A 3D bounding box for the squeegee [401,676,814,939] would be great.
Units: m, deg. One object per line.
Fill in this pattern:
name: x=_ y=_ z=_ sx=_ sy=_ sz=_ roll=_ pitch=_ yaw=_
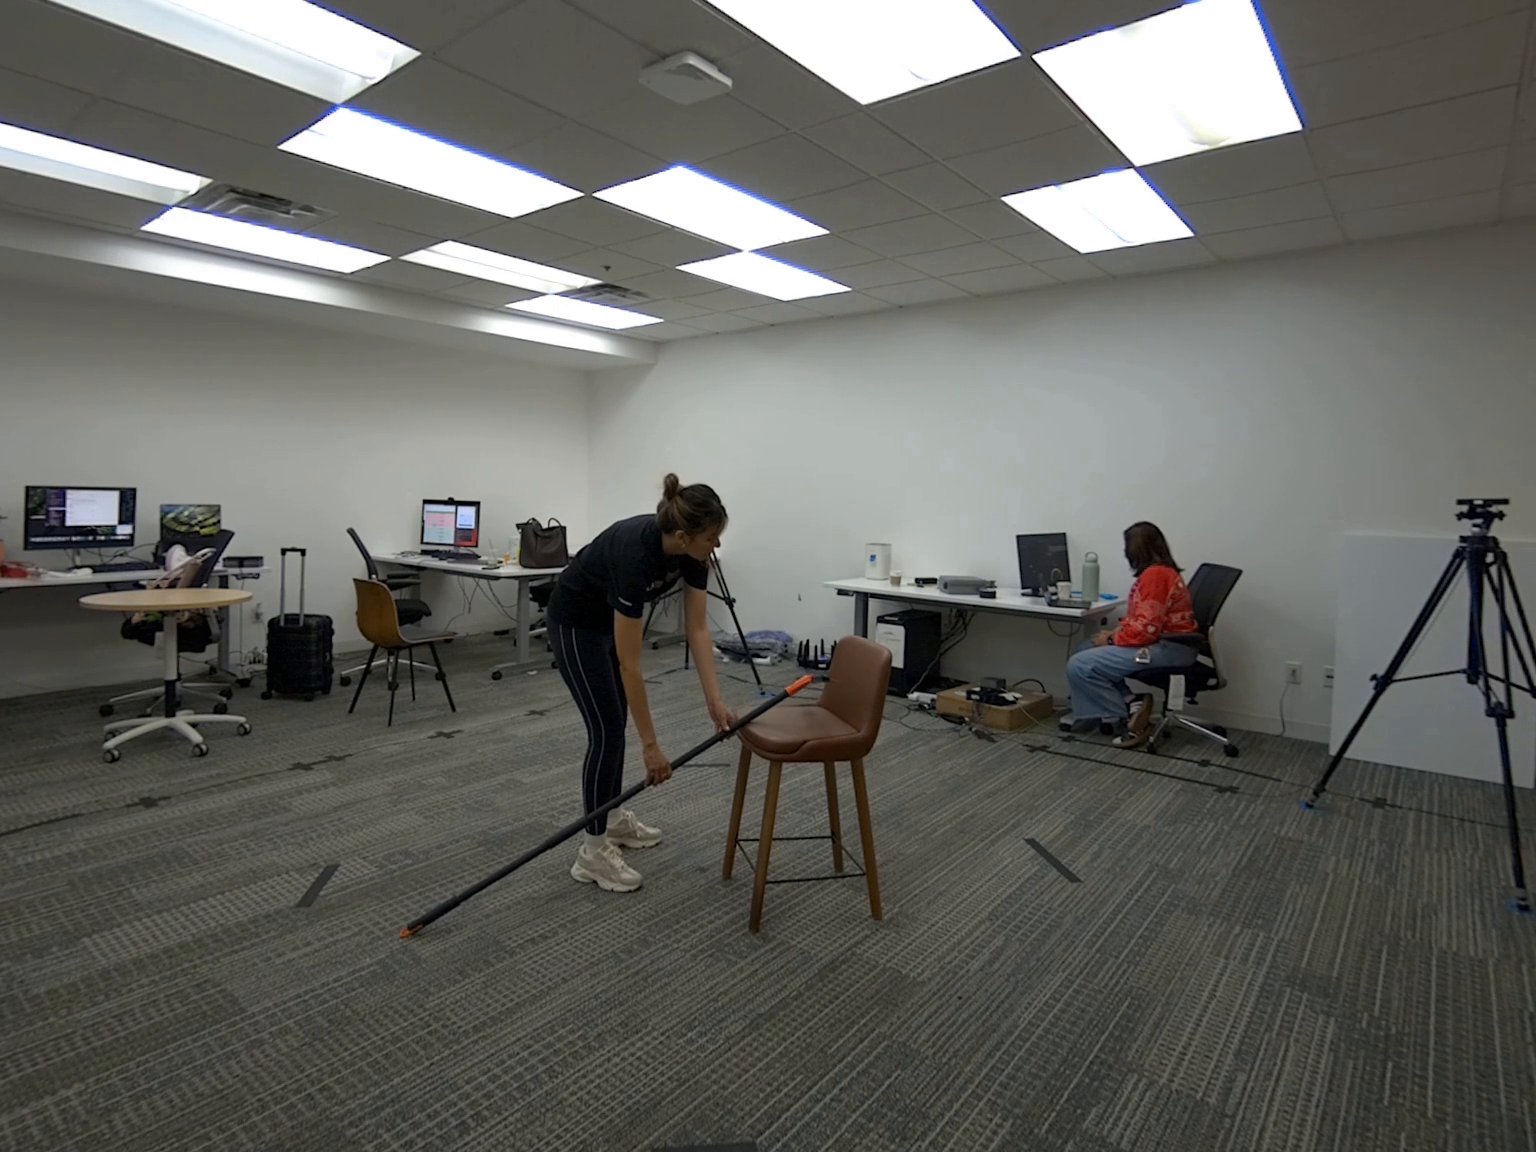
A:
squeegee: x=-0.489 y=0.722 z=2.746 sx=1.531 sy=0.052 sz=0.447 roll=-31 pitch=16 yaw=-9
